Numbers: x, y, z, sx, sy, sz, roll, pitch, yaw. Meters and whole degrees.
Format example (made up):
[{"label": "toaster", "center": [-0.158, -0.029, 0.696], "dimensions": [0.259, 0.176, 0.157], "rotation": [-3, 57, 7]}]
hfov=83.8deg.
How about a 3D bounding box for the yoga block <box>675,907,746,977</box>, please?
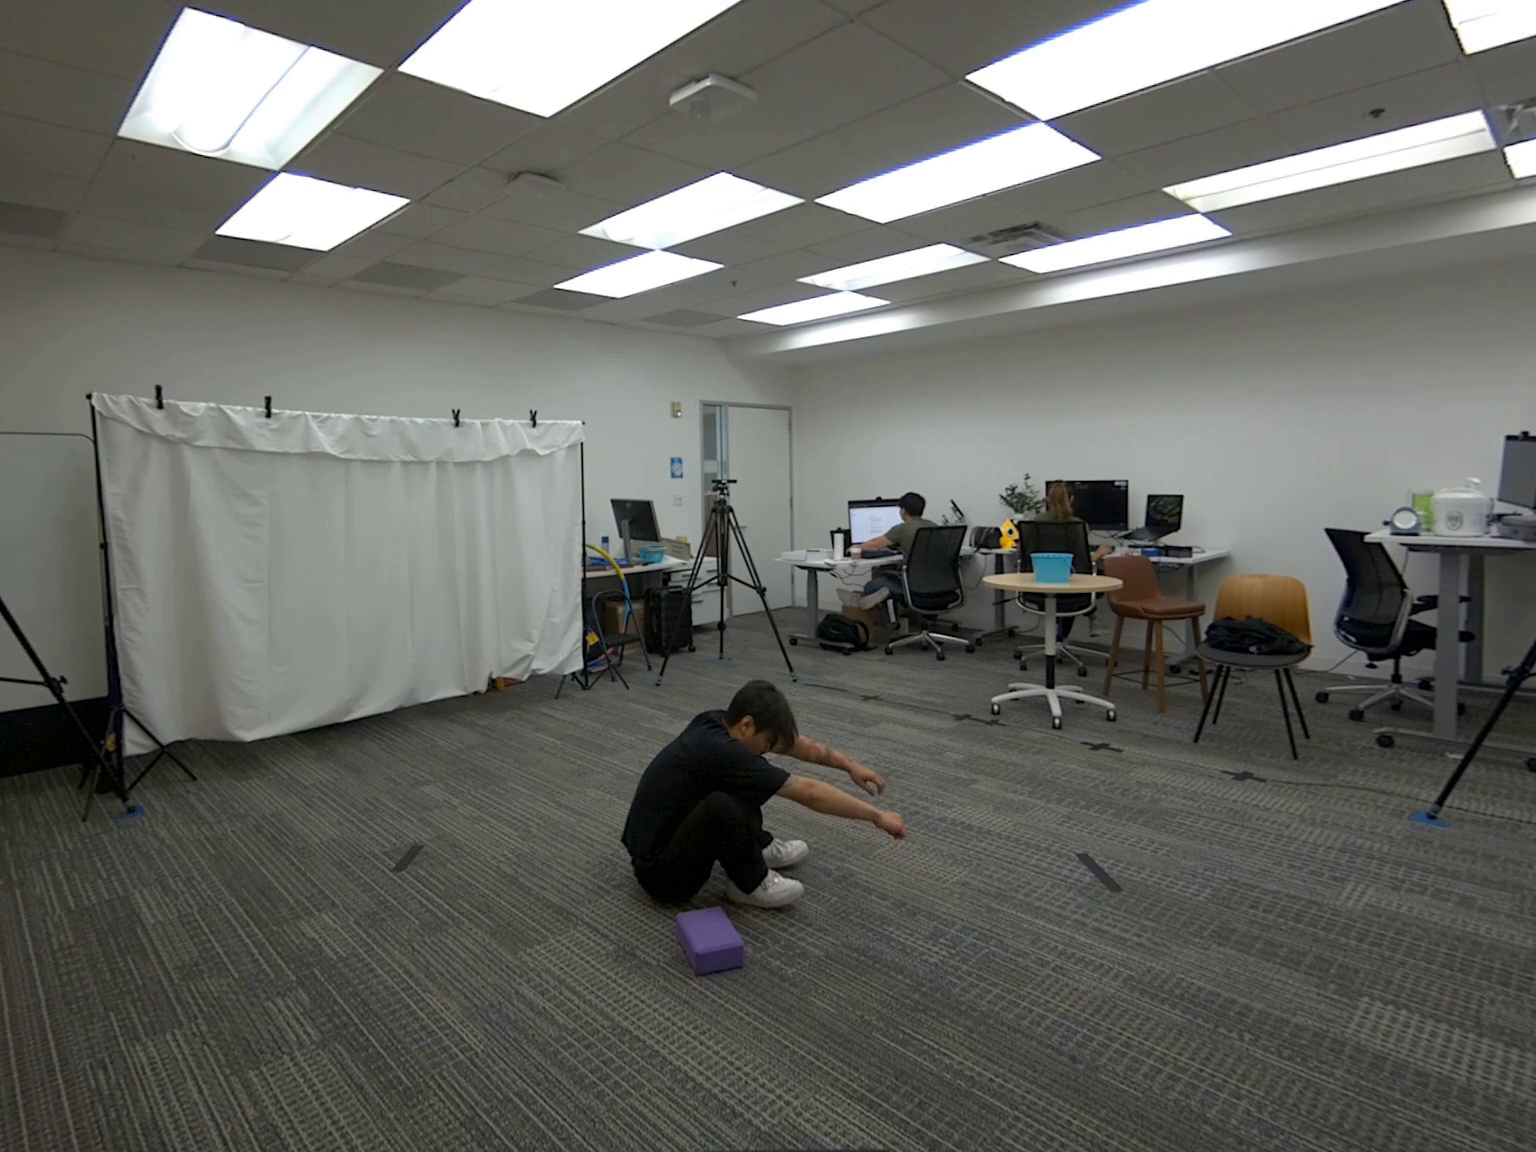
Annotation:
[{"label": "yoga block", "center": [-0.173, 1.081, 2.532], "dimensions": [0.146, 0.076, 0.234], "rotation": [-3, 7, -20]}]
